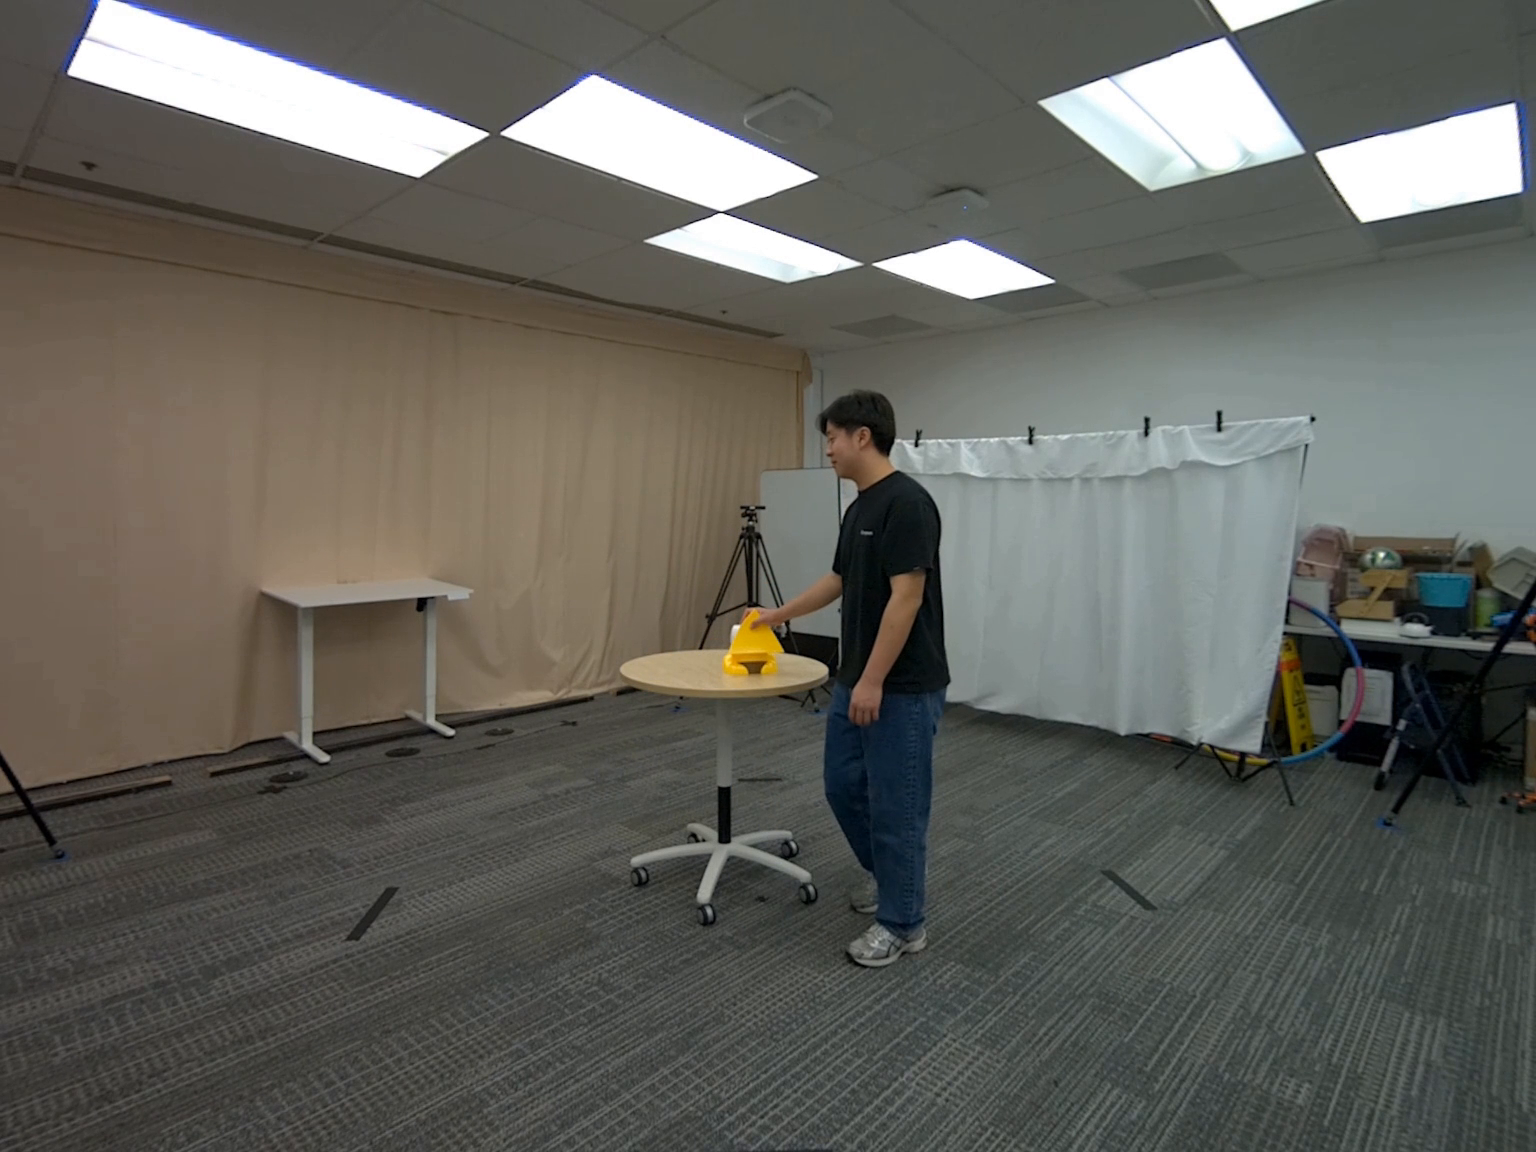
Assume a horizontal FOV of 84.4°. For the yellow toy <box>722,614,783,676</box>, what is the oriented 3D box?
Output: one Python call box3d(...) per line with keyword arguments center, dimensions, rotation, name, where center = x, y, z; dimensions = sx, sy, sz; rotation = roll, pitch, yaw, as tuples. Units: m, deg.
box3d(center=(-0.066, 0.229, 3.052), dimensions=(0.202, 0.230, 0.196), rotation=(-2, 5, -13), name="yellow toy")
